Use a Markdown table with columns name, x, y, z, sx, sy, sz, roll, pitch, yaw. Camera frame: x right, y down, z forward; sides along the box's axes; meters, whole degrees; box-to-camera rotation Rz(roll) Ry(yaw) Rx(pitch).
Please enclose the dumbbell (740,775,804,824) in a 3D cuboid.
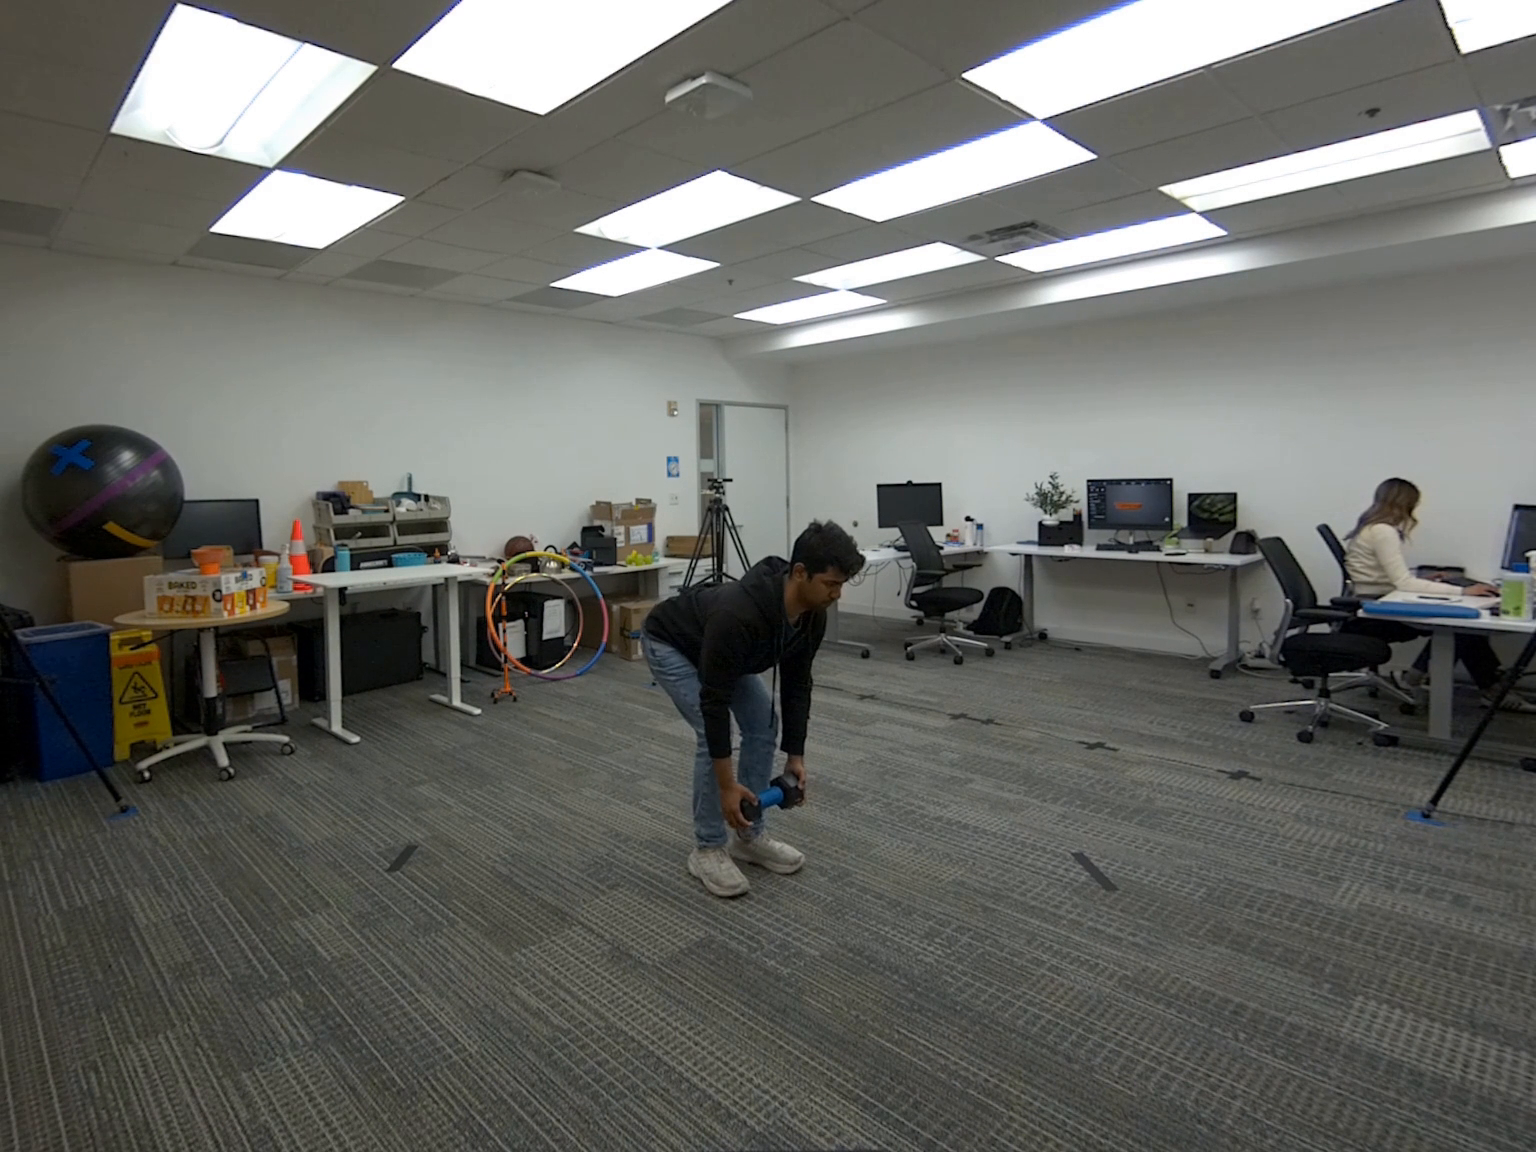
| name | x | y | z | sx | sy | sz | roll | pitch | yaw |
| --- | --- | --- | --- | --- | --- | --- | --- | --- | --- |
| dumbbell | -0.006 | 0.762 | 2.933 | 0.286 | 0.111 | 0.123 | -10 | -21 | -45 |
